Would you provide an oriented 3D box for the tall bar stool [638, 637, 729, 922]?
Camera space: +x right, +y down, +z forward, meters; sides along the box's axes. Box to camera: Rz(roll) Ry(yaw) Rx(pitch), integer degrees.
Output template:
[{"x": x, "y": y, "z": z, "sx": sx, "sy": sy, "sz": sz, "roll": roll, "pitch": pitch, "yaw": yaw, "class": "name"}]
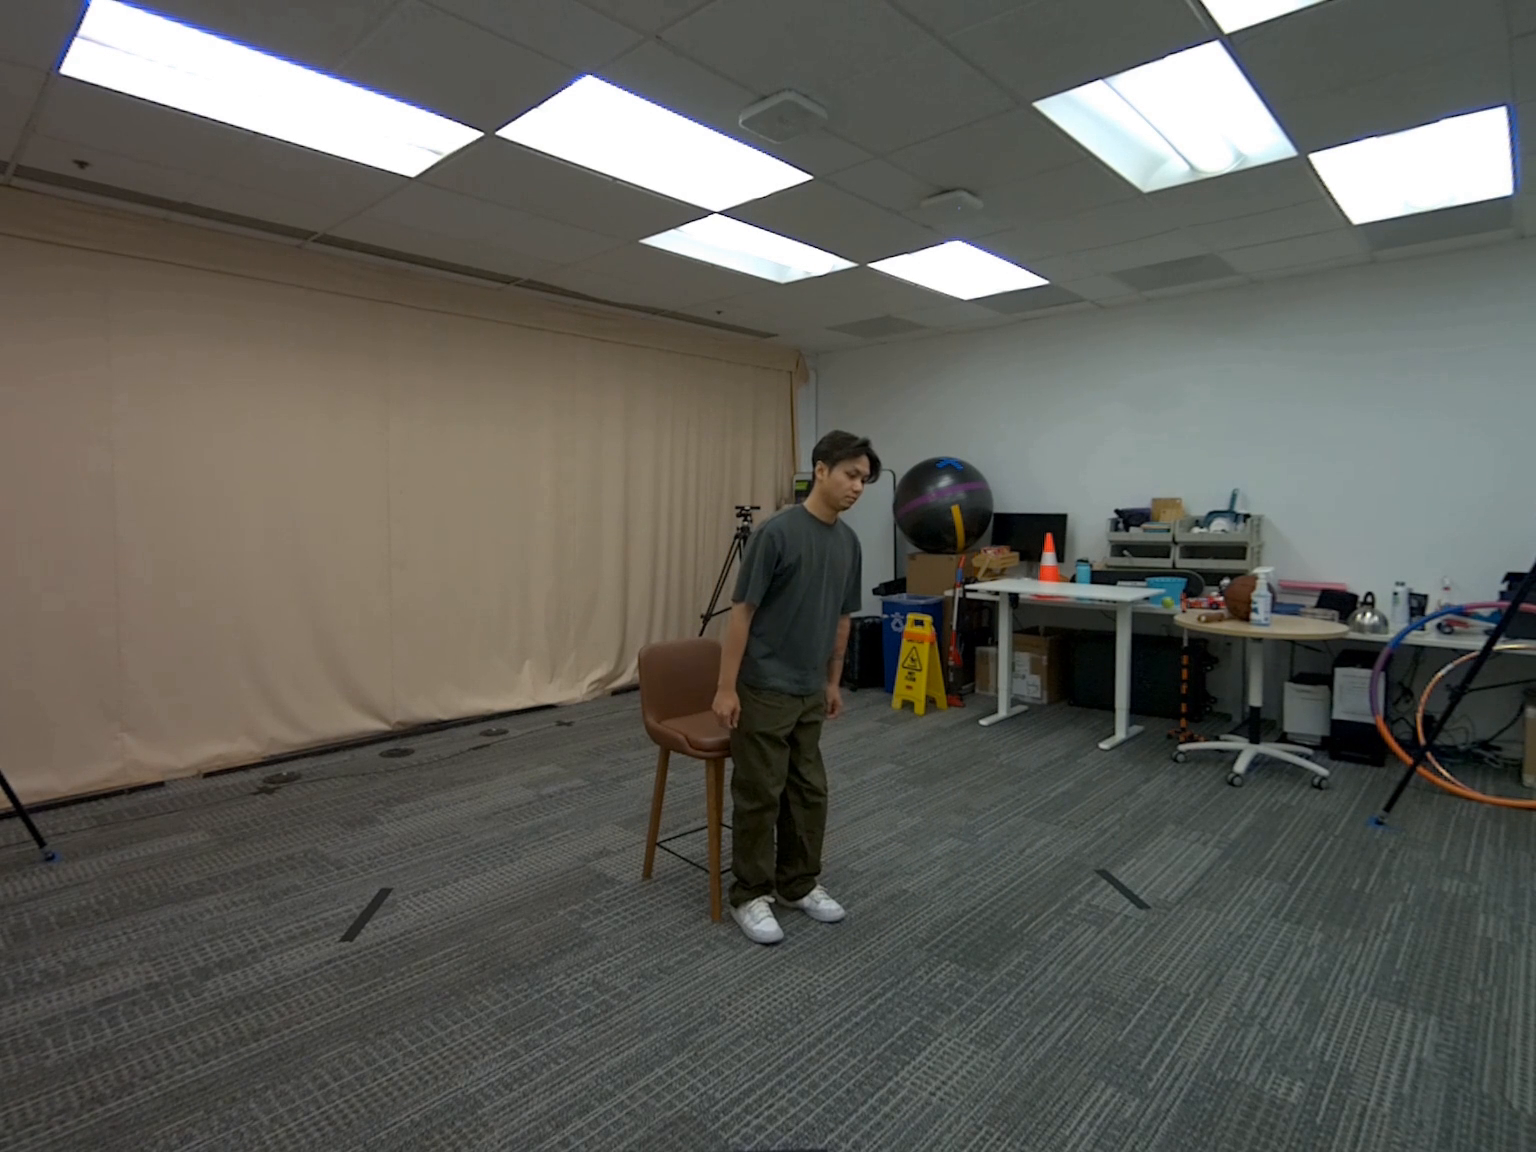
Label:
[{"x": -0.193, "y": 0.696, "z": 3.088, "sx": 0.442, "sy": 0.888, "sz": 0.483, "roll": -4, "pitch": 3, "yaw": -43, "class": "tall bar stool"}]
